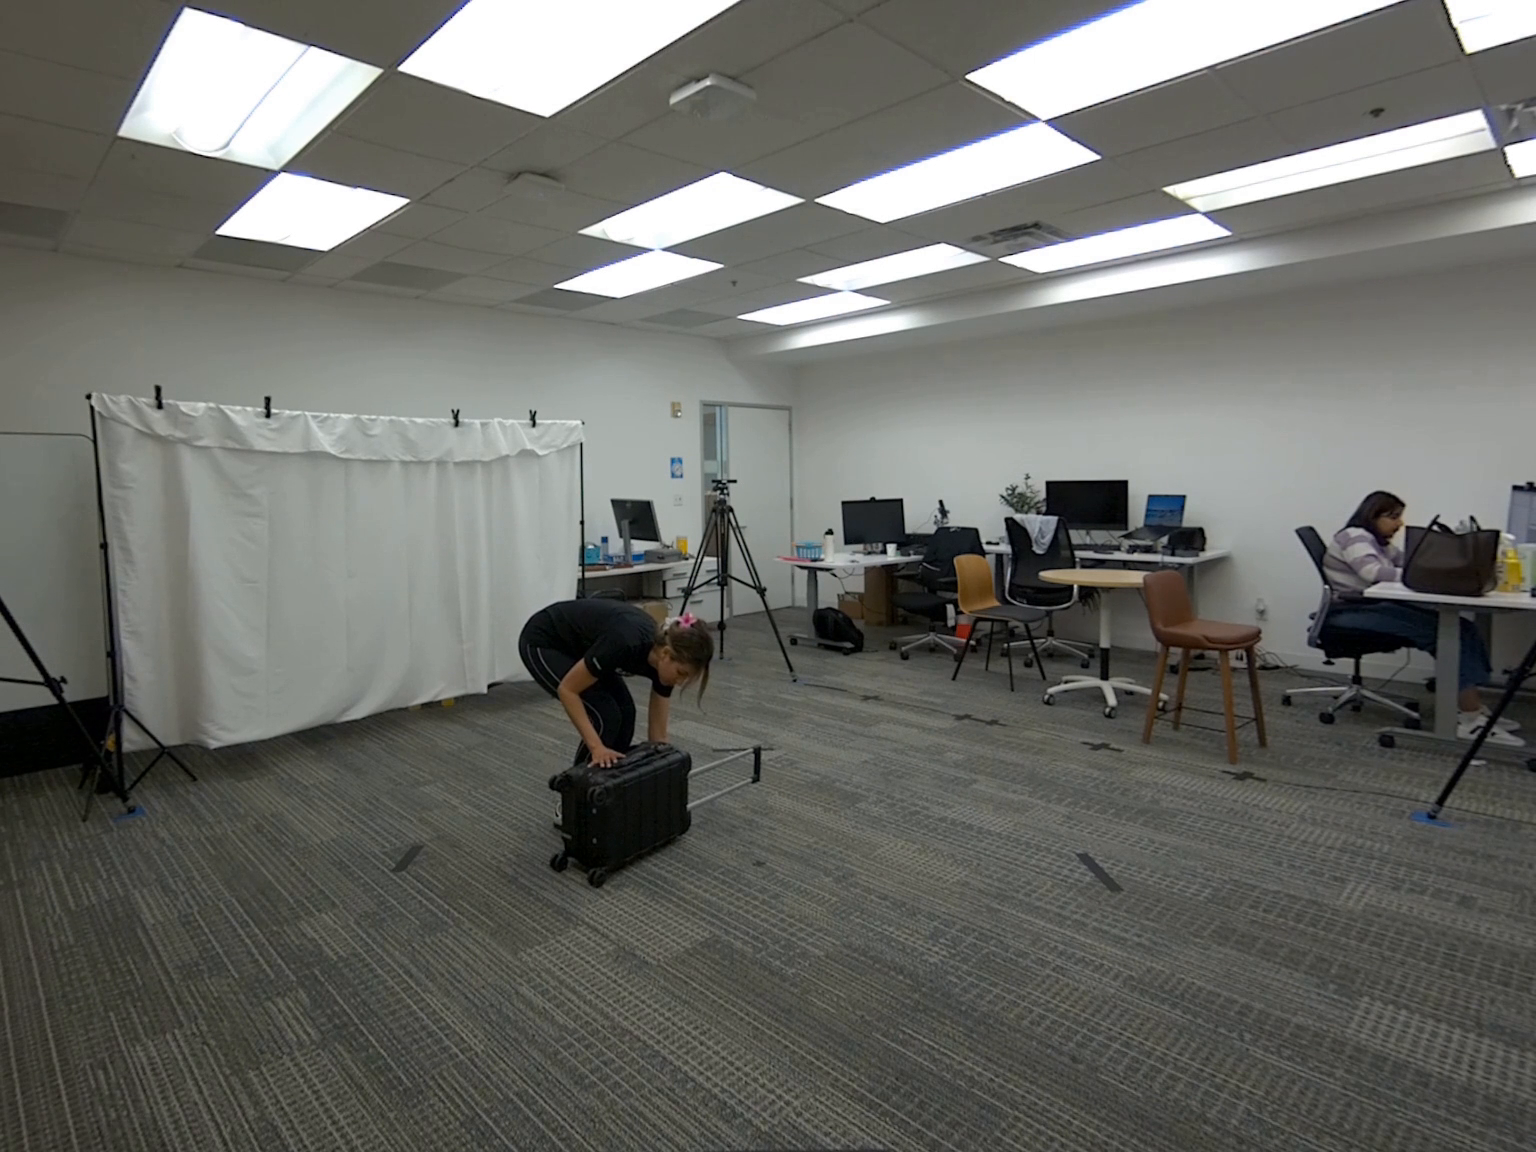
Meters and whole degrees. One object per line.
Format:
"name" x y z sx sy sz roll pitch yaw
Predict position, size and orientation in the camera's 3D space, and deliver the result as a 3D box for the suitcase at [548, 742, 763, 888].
"suitcase" -0.411 0.838 3.374 0.264 0.382 0.955 2 6 35
